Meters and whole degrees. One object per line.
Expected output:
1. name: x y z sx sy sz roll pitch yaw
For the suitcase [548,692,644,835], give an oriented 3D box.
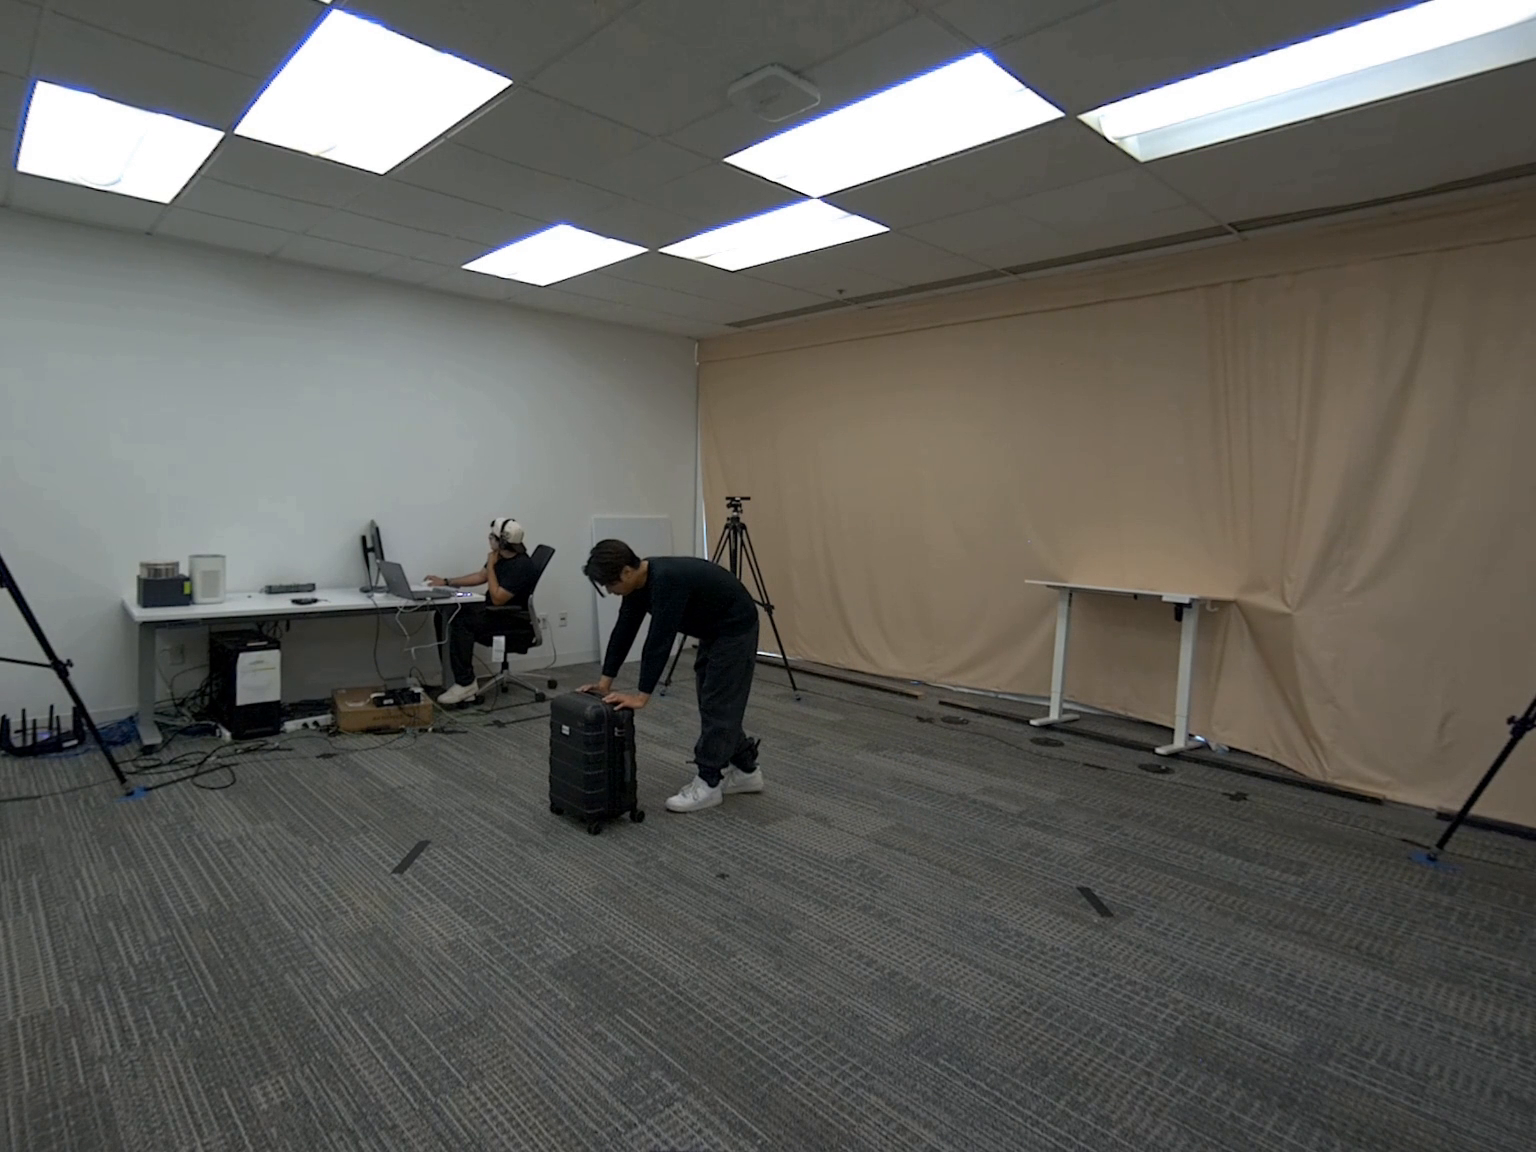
1. suitcase: -0.758 0.775 3.610 0.243 0.547 0.385 -5 8 -43
